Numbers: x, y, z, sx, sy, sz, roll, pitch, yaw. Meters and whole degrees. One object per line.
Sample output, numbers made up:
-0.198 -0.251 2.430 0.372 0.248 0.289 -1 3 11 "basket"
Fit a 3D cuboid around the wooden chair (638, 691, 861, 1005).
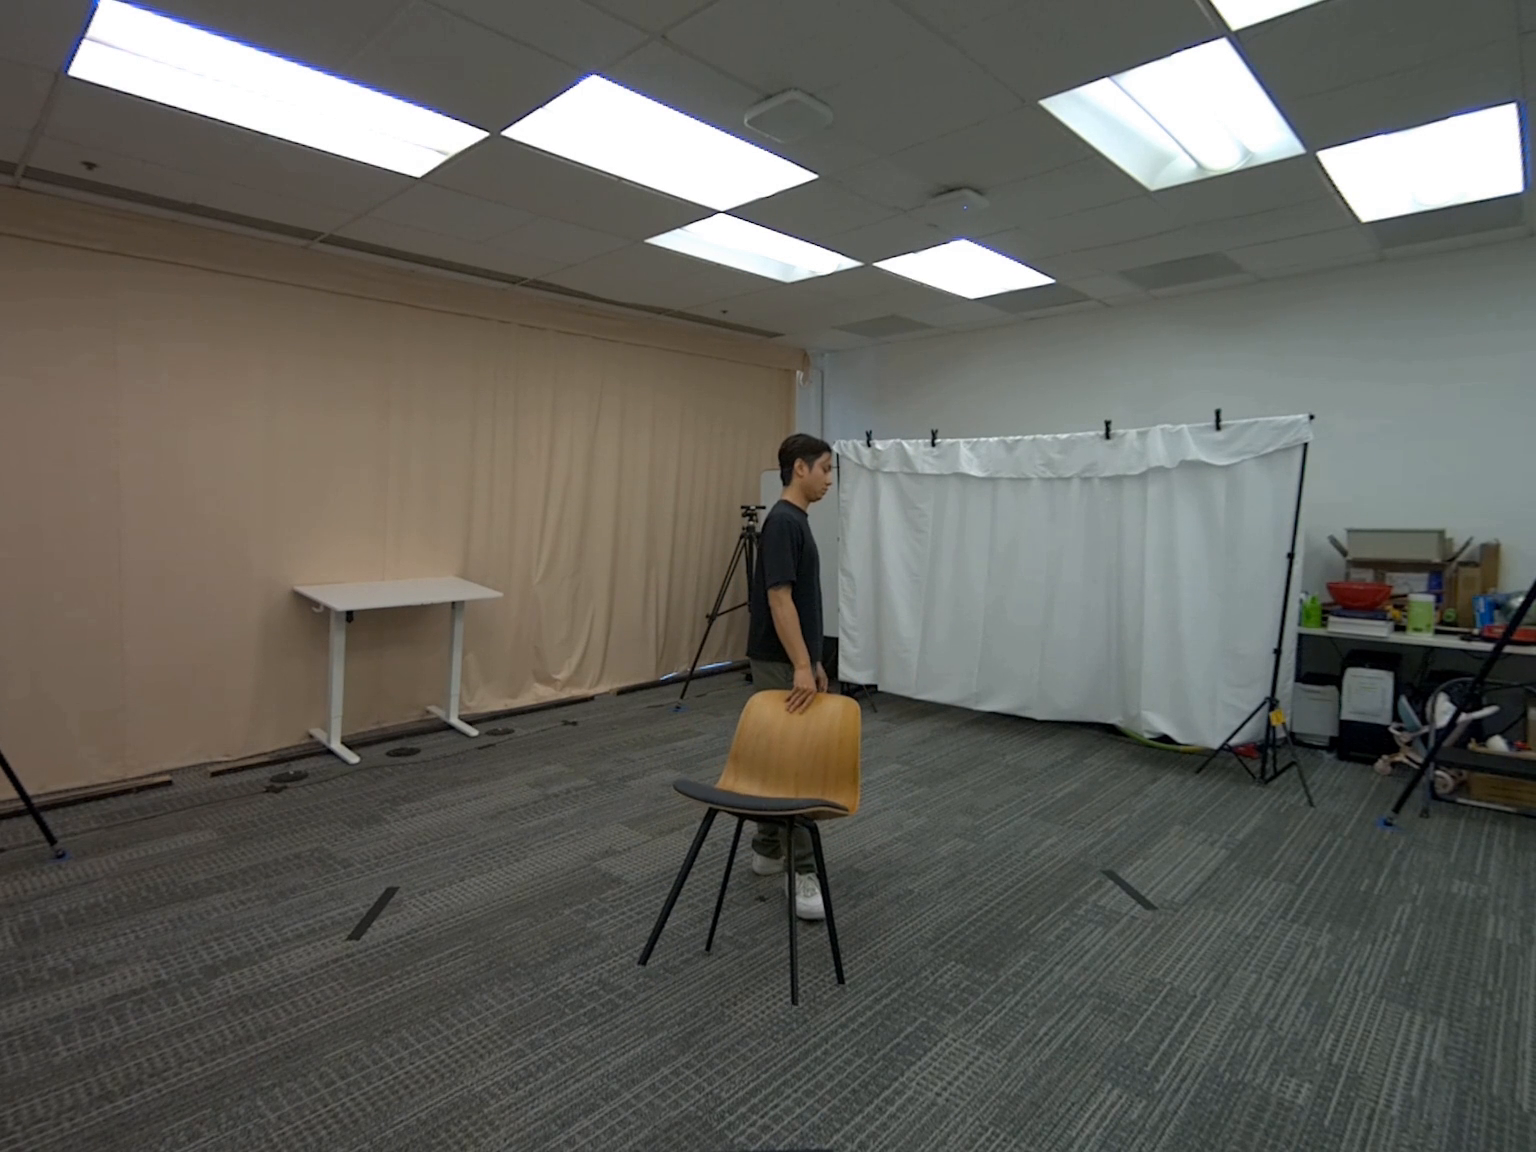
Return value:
0.000 0.705 2.459 0.490 0.884 0.506 1 -22 24 "wooden chair"
